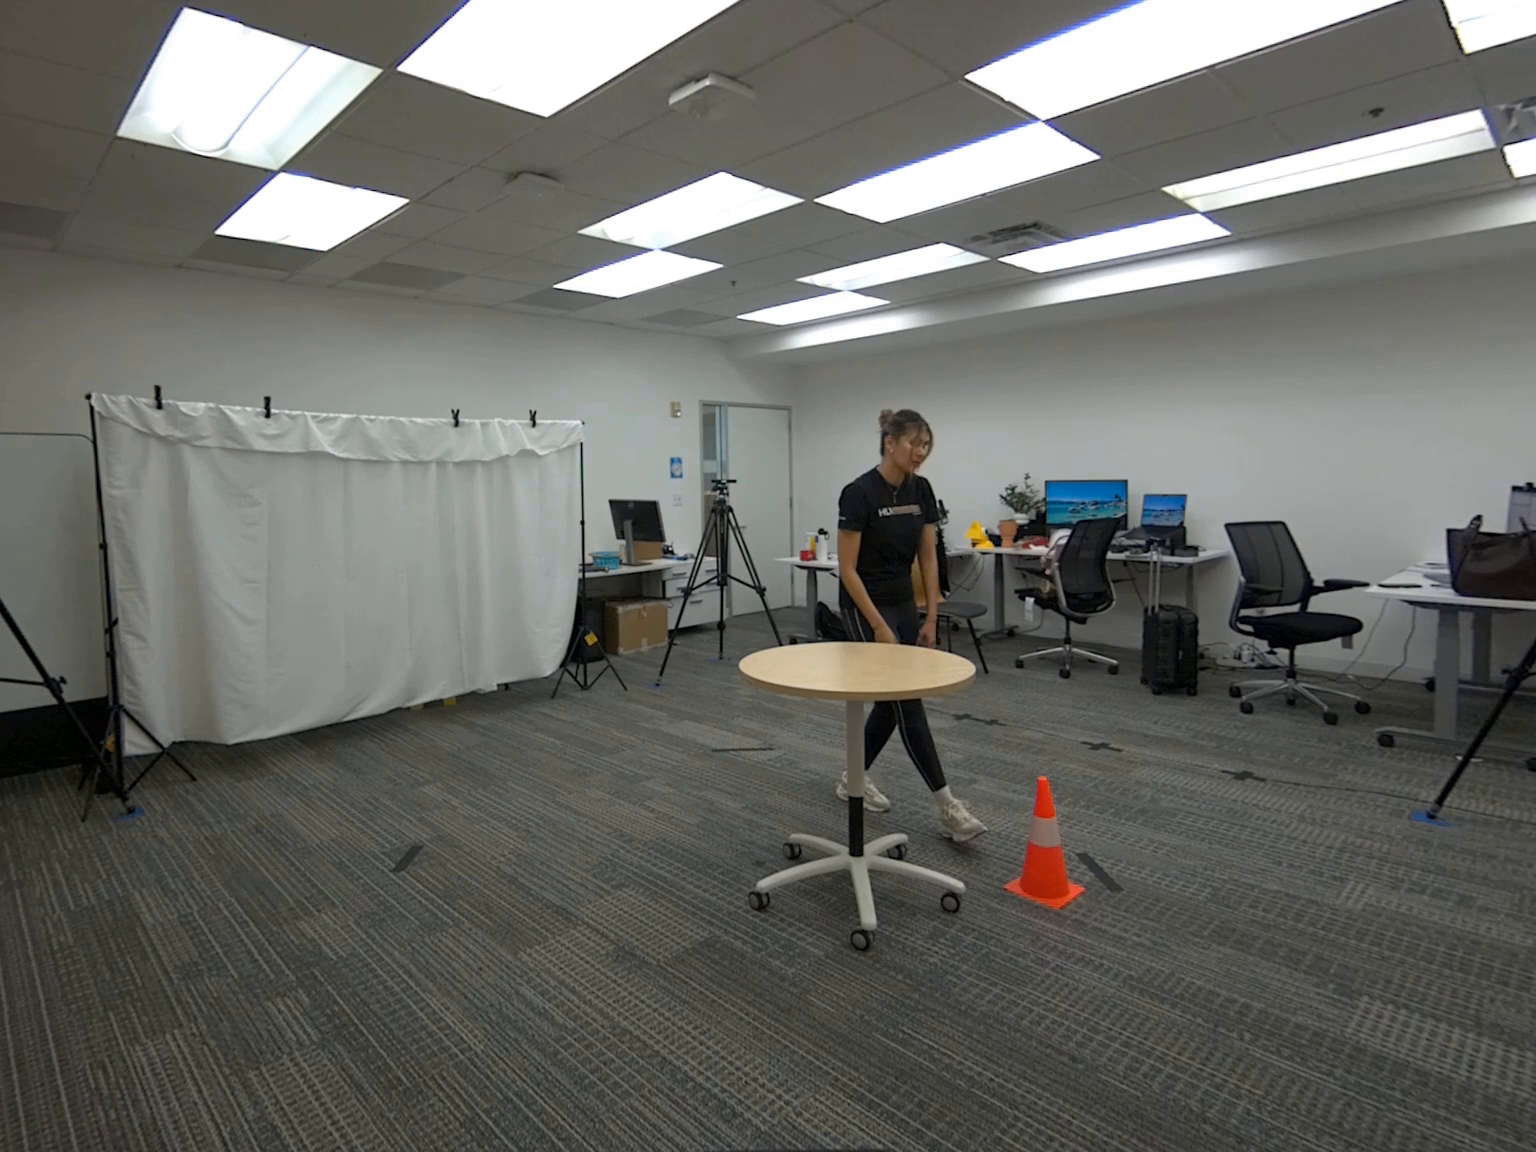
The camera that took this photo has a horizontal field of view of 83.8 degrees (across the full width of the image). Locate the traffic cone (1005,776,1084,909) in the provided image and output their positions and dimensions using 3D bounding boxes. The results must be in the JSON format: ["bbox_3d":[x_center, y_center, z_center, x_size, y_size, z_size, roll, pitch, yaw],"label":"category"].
[{"bbox_3d":[0.939,0.871,2.873,0.199,0.382,0.209,-3,6,-36],"label":"traffic cone"}]
